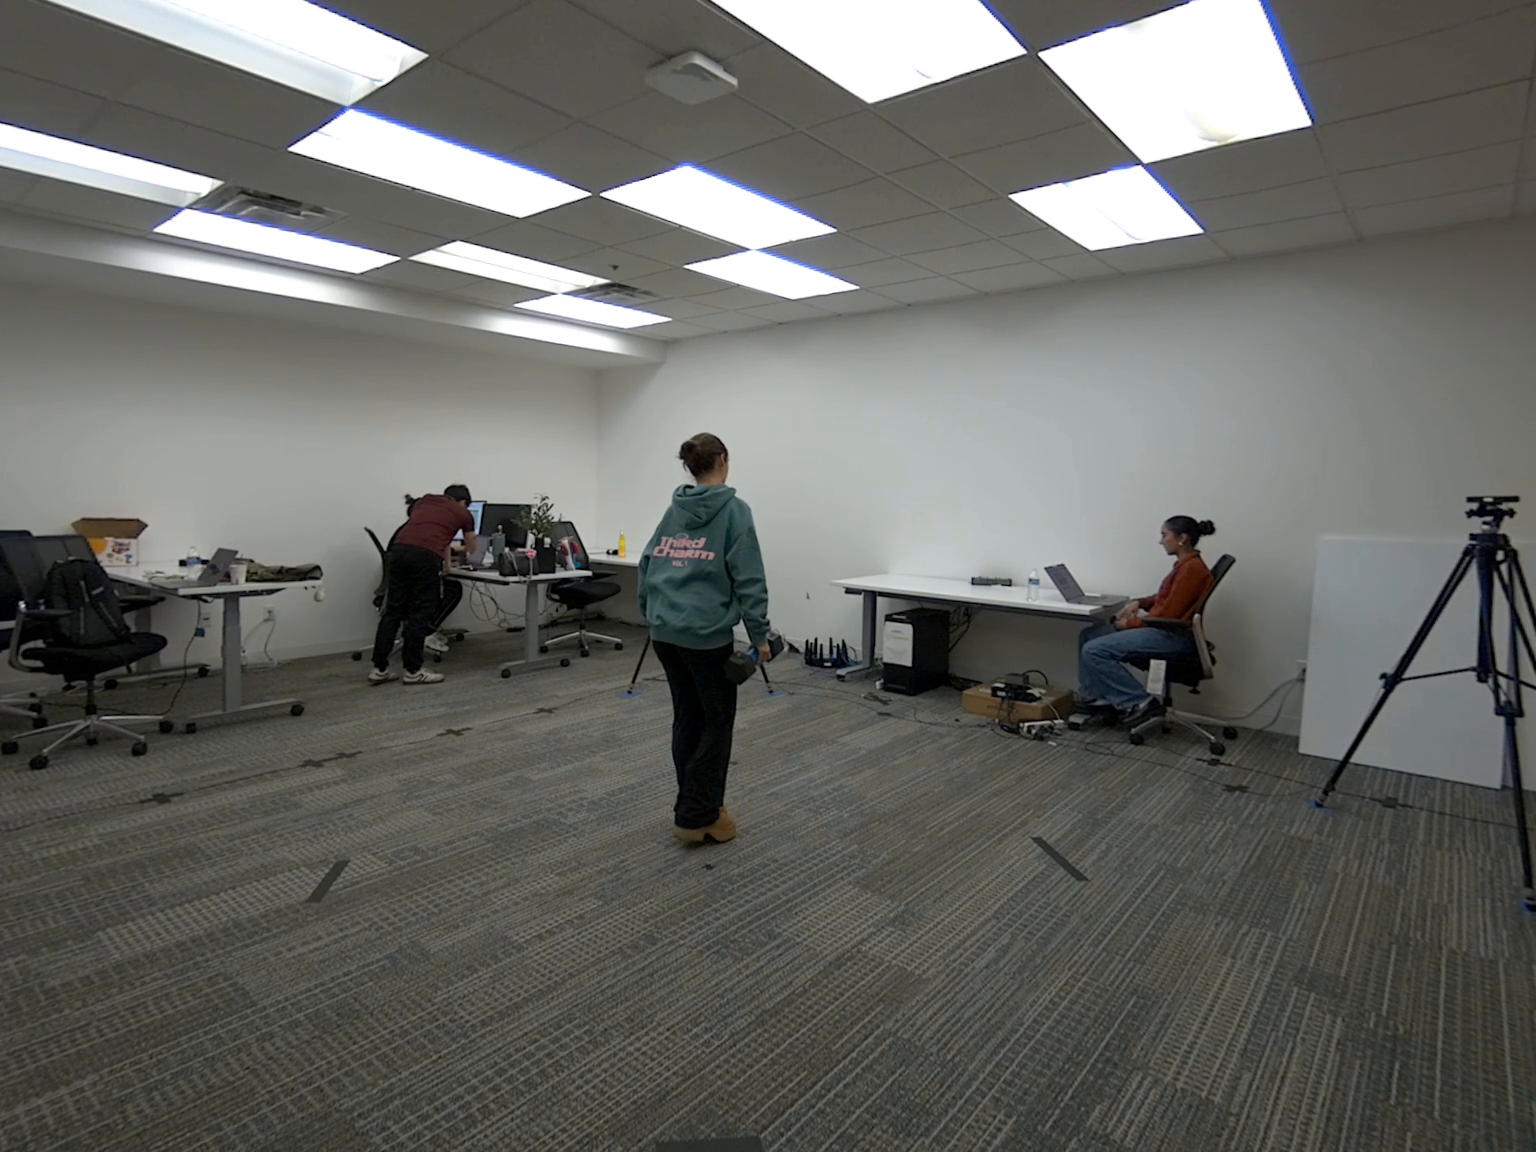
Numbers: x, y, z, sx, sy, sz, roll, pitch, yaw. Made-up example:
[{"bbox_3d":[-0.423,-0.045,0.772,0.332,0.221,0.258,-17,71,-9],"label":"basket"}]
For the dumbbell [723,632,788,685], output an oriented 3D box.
[{"bbox_3d":[-0.068,0.317,3.339,0.290,0.110,0.123,-33,-13,-51],"label":"dumbbell"}]
